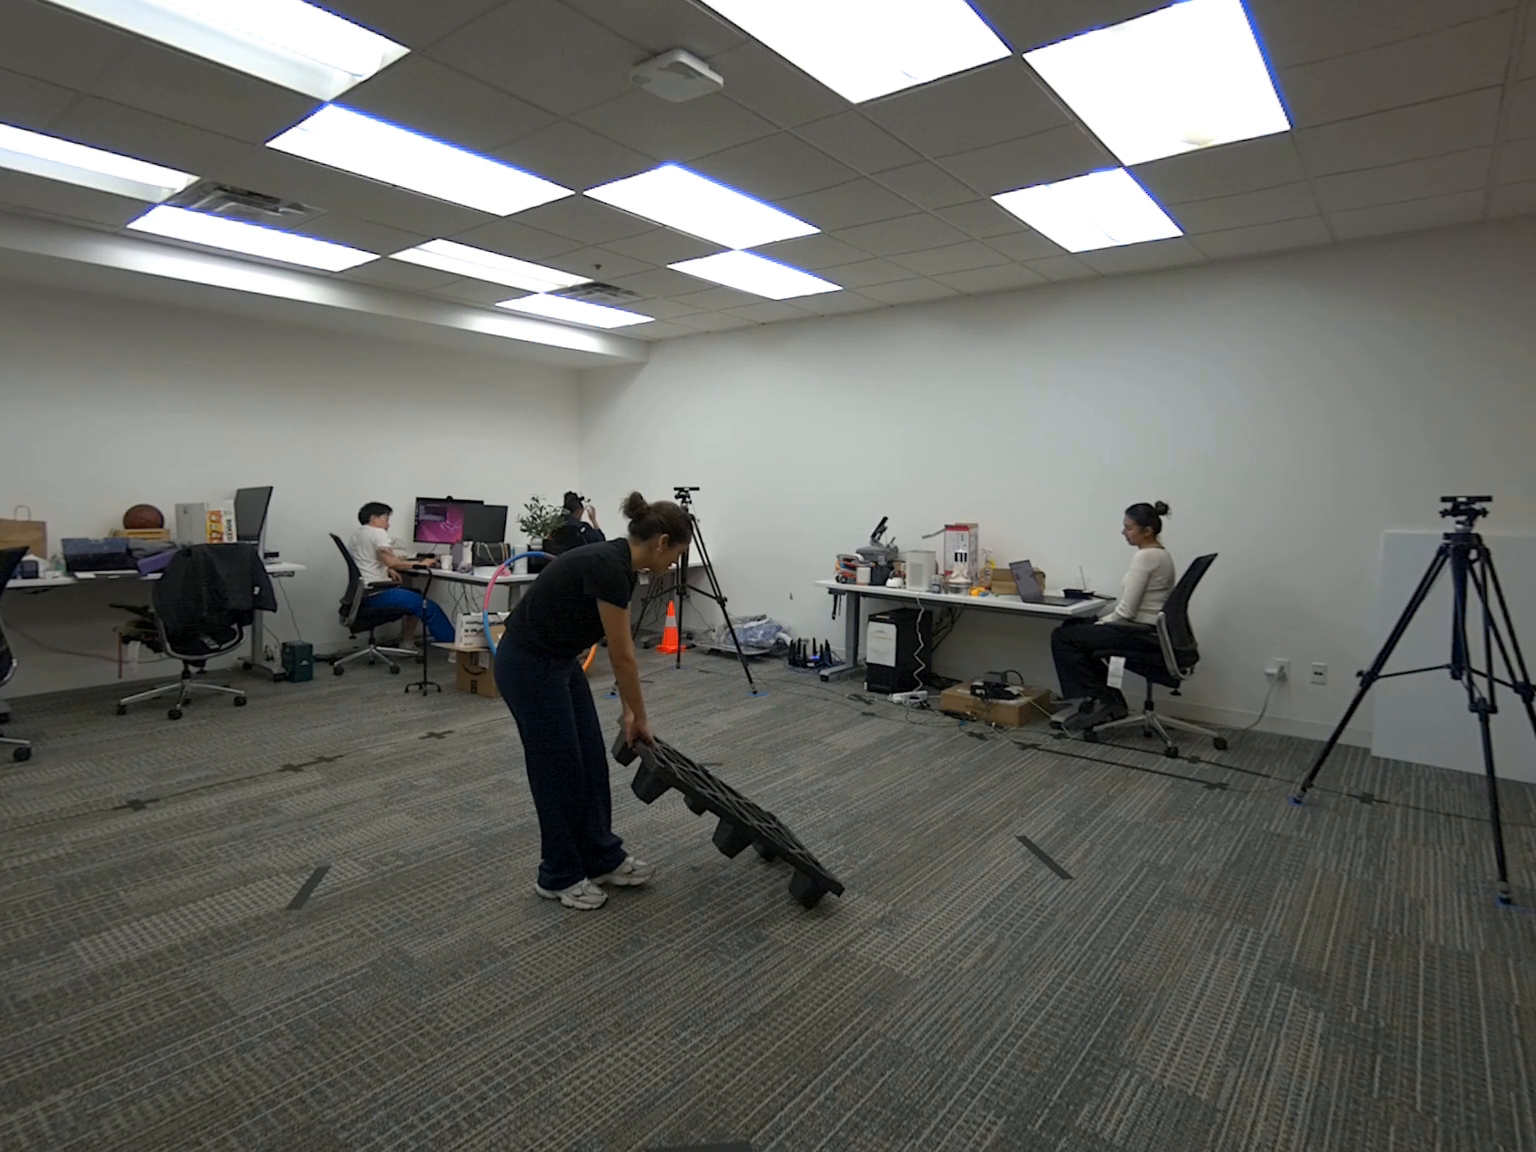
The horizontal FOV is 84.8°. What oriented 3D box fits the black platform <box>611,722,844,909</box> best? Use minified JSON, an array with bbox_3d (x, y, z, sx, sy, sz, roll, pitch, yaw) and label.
[{"bbox_3d":[-0.167,0.809,2.961,0.788,0.143,0.618,38,-8,-16],"label":"black platform"}]
